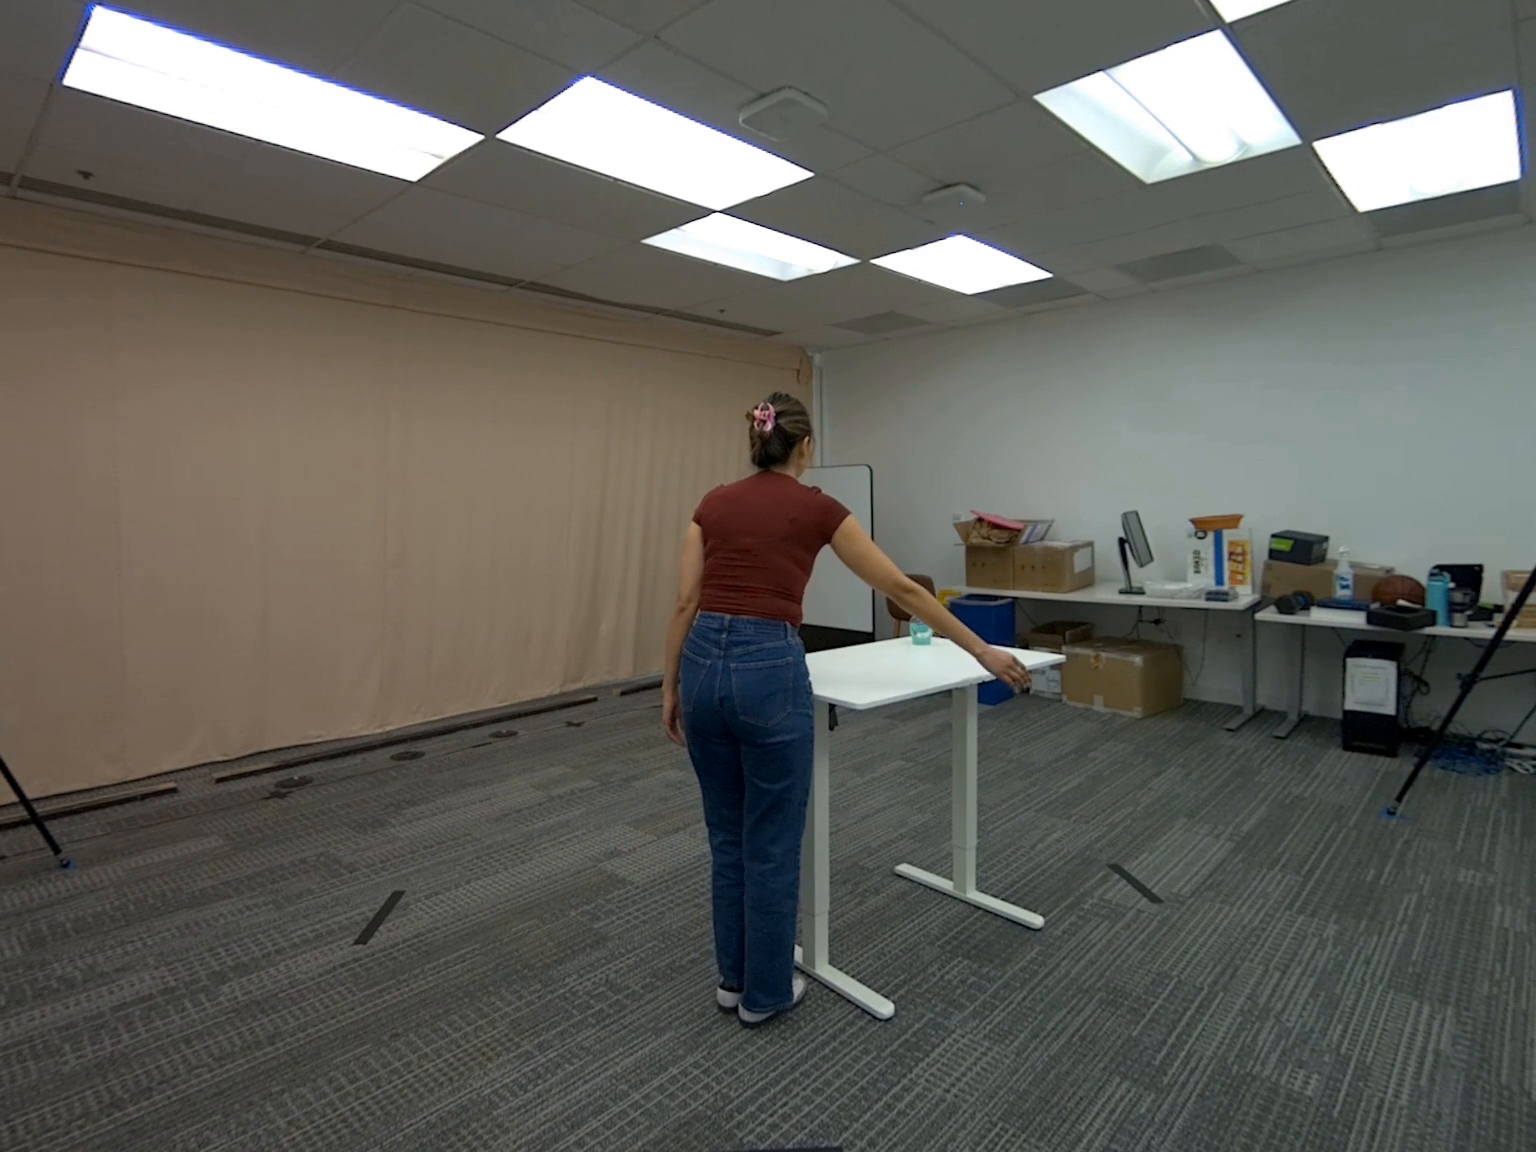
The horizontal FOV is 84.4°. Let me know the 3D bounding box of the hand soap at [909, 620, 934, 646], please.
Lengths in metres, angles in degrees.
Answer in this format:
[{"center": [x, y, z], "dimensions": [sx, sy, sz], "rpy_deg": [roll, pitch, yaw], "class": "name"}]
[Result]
[{"center": [0.553, 0.164, 3.004], "dimensions": [0.084, 0.168, 0.043], "rpy_deg": [1, -1, -1], "class": "hand soap"}]
